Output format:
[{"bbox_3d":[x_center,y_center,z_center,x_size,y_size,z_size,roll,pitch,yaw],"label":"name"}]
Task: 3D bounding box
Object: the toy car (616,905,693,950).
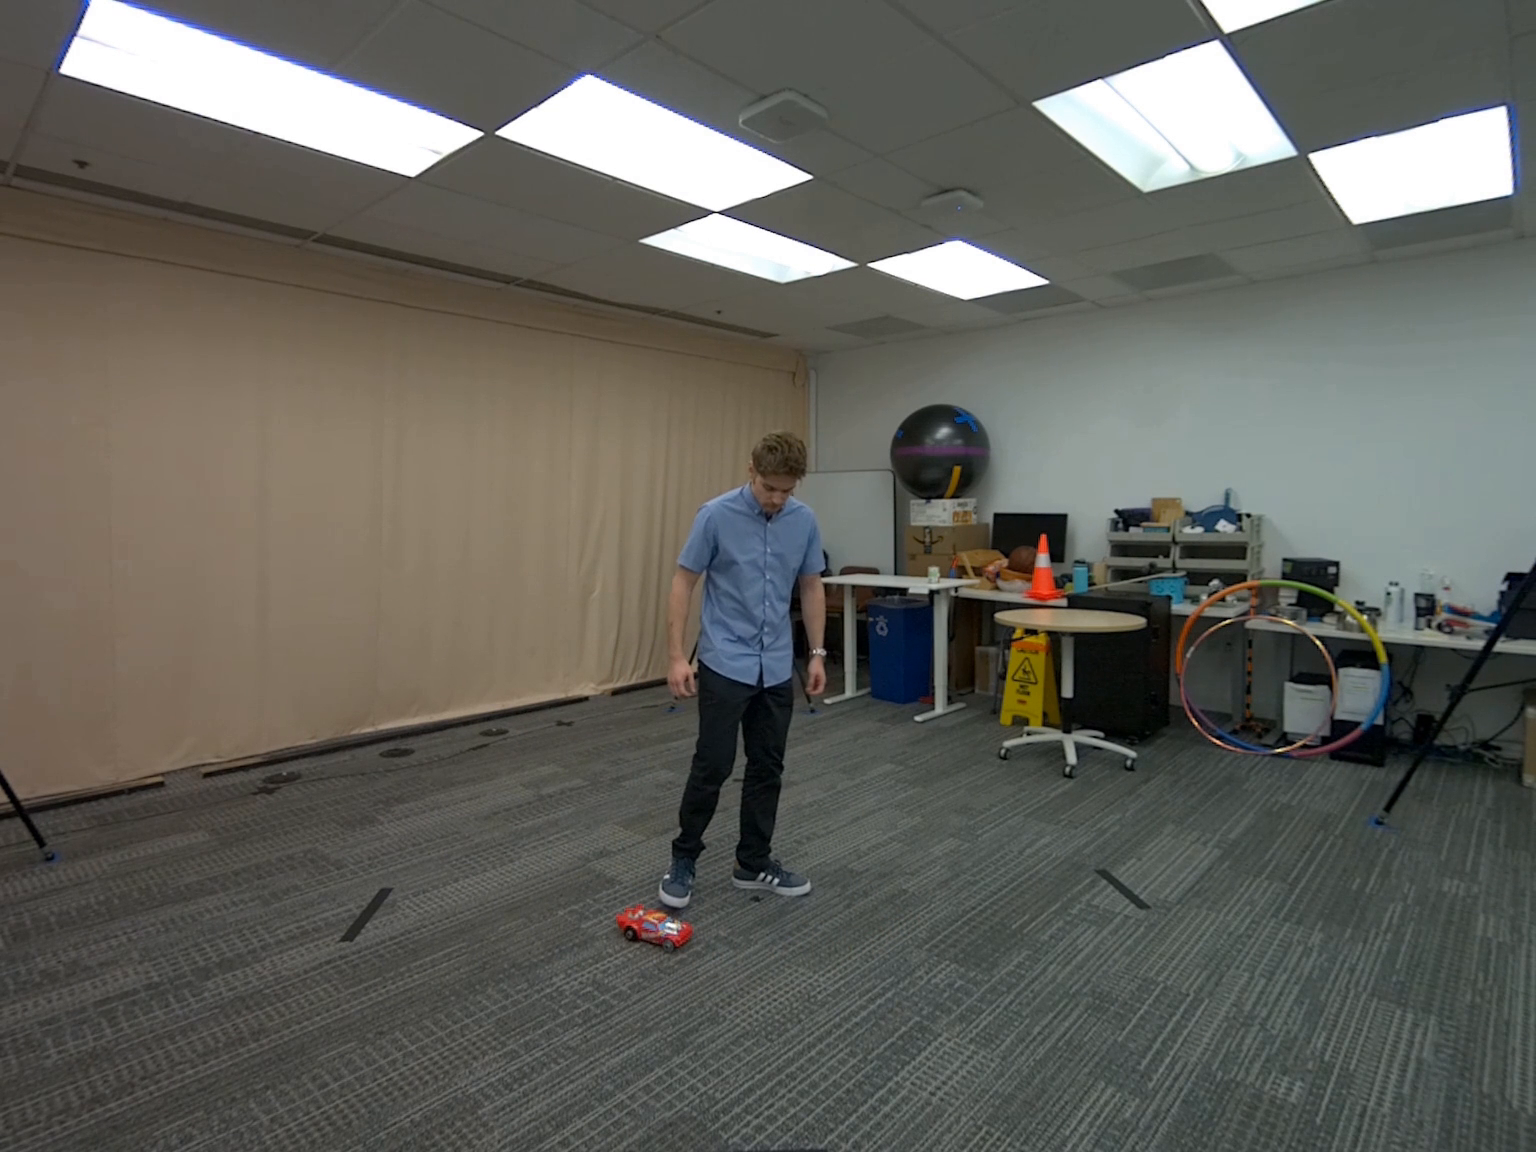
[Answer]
[{"bbox_3d":[-0.375,1.137,2.717,0.262,0.083,0.127,15,12,28],"label":"toy car"}]
